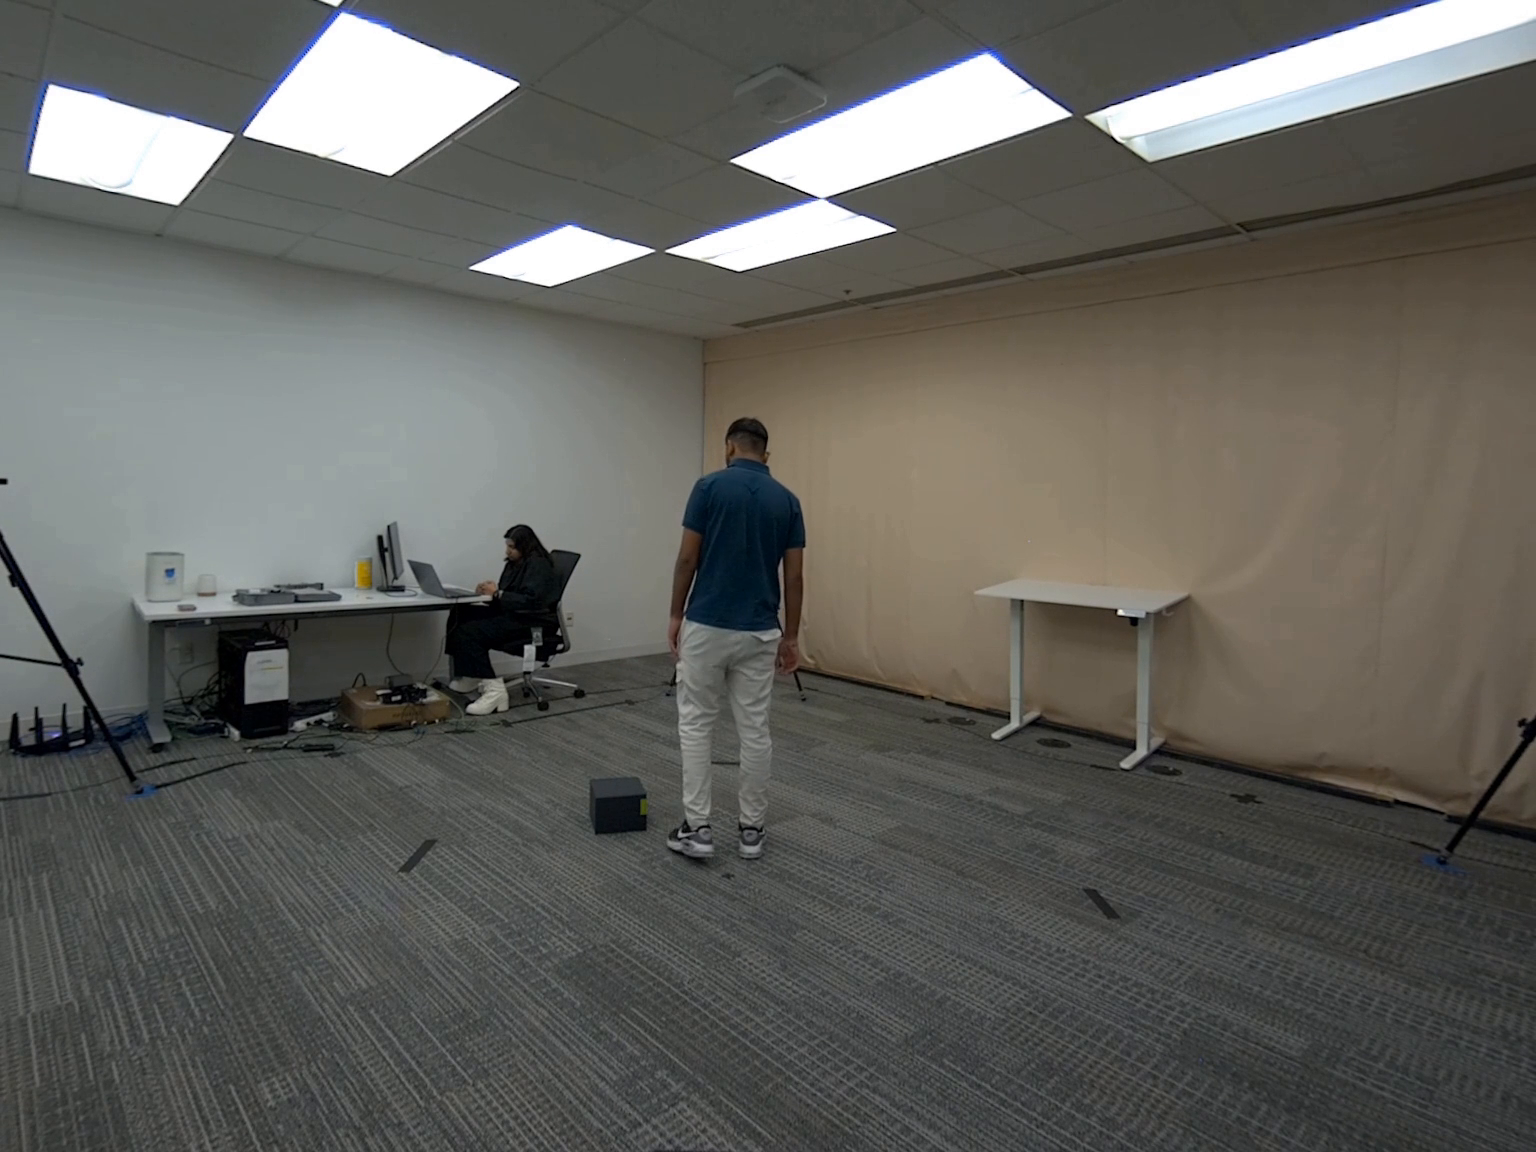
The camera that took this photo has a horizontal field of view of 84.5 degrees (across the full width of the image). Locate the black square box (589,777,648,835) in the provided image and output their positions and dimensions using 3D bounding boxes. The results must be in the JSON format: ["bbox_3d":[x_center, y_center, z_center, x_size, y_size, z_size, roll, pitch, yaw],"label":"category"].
[{"bbox_3d":[-0.652,0.970,3.587,0.214,0.155,0.231,0,5,-17],"label":"black square box"}]
